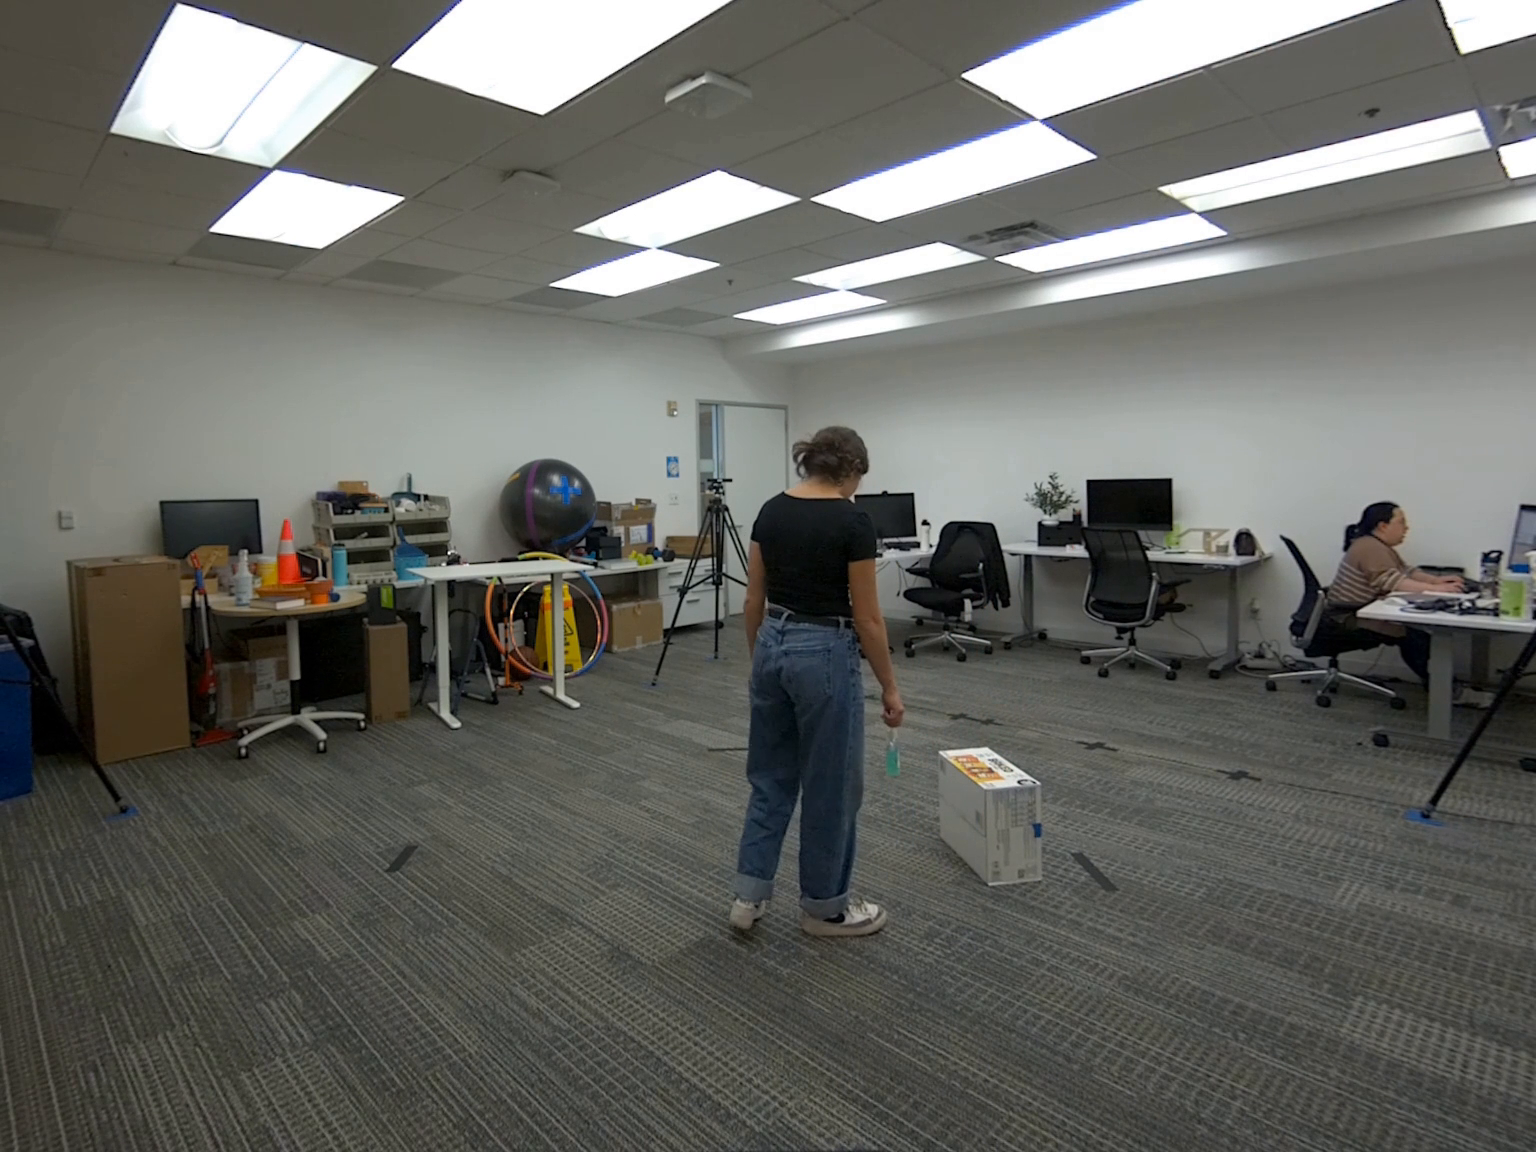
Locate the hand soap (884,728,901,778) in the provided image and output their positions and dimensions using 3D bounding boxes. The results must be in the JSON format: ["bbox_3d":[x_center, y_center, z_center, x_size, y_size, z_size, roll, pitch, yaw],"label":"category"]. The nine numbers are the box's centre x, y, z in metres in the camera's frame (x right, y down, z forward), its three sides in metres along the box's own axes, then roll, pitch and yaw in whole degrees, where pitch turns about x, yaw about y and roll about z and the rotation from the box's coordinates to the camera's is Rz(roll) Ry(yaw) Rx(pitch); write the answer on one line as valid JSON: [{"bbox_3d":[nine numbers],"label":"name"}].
[{"bbox_3d":[0.374,0.505,2.574,0.044,0.167,0.084,-1,4,13],"label":"hand soap"}]
